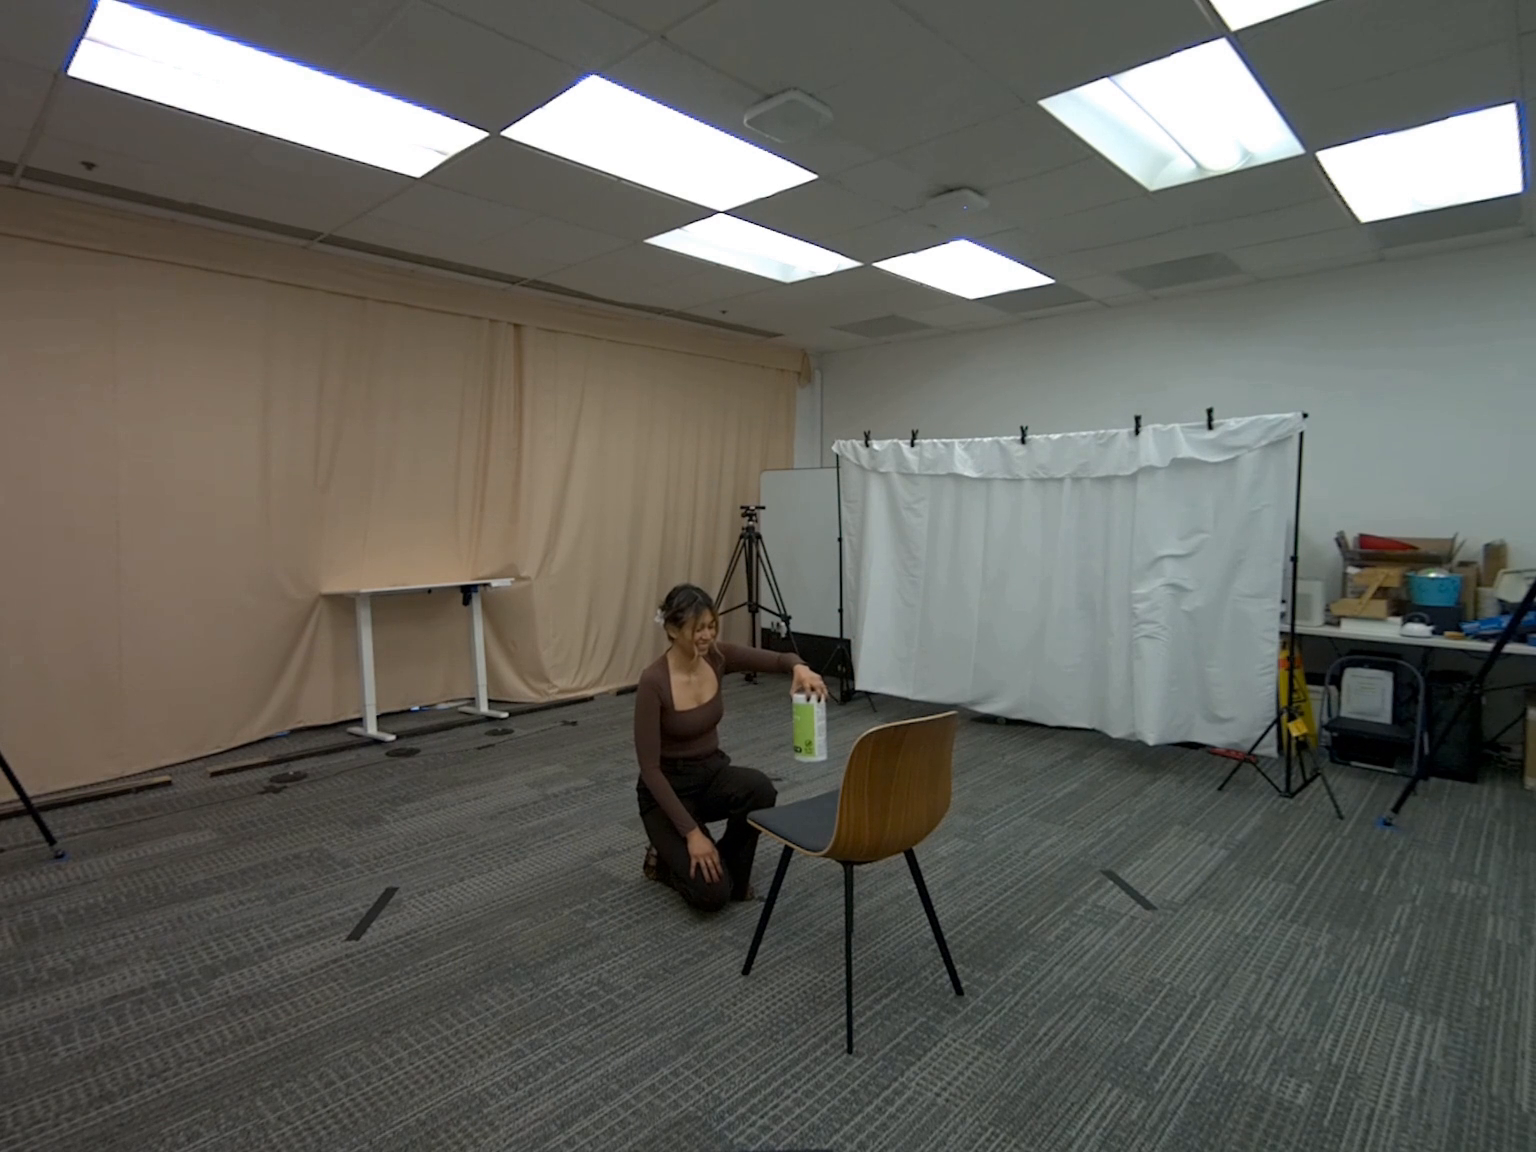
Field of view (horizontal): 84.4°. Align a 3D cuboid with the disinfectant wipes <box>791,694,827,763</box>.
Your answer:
[{"bbox_3d":[0.139,0.496,2.754,0.118,0.218,0.118,0,-2,-2],"label":"disinfectant wipes"}]
